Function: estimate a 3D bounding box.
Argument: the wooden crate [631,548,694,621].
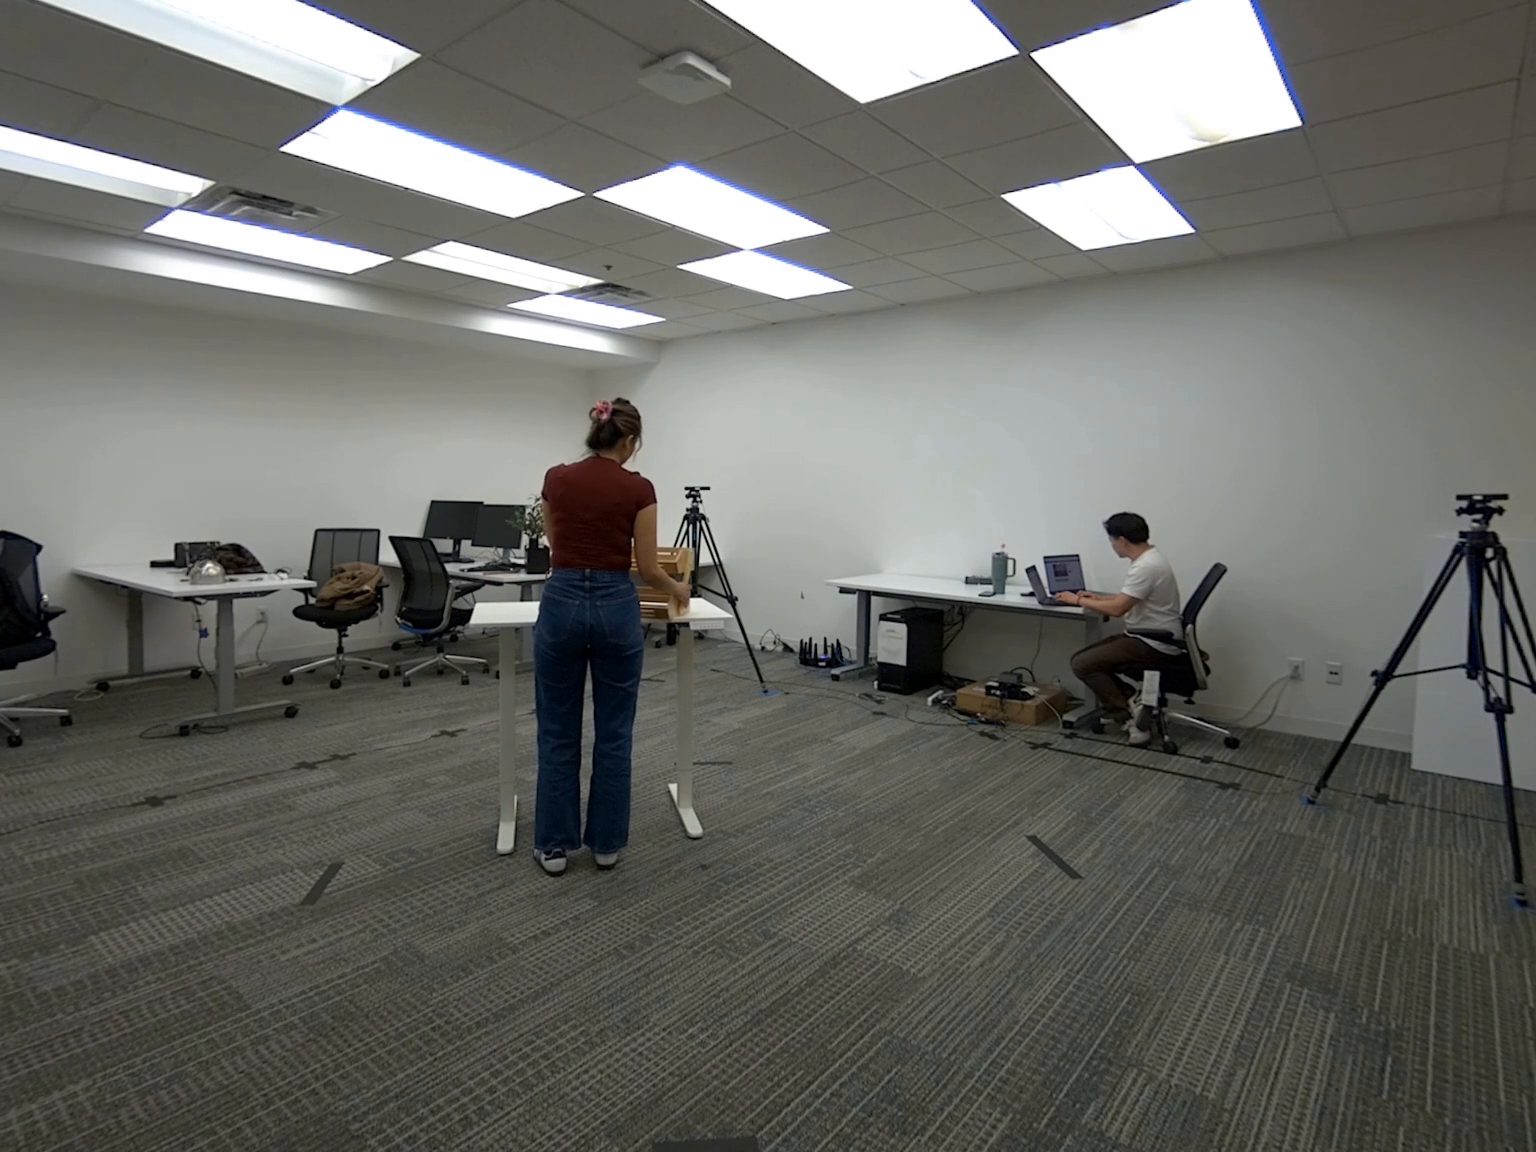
[{"bbox_3d":[-0.498,0.015,3.413,0.330,0.272,0.298,2,4,15],"label":"wooden crate"}]
